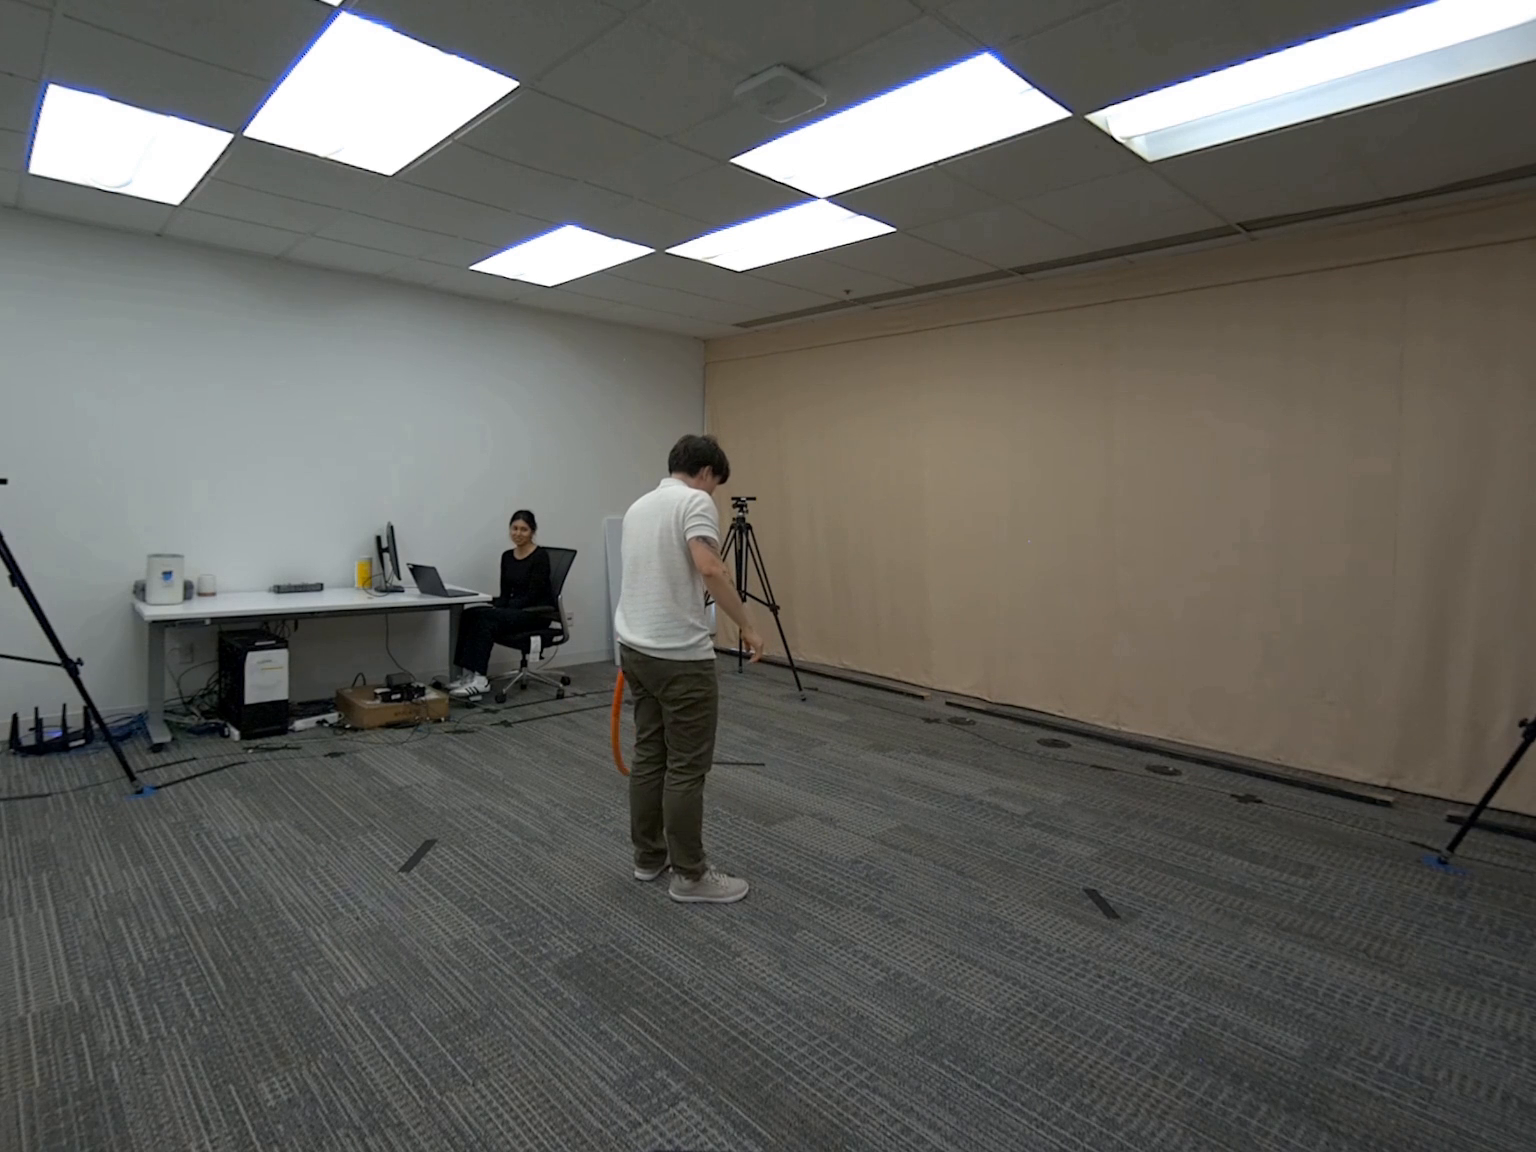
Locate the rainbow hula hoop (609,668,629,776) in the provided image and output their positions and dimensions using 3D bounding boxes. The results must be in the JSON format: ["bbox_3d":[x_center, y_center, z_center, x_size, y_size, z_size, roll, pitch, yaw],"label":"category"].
[{"bbox_3d":[-0.480,0.432,3.832,0.036,0.975,0.969,13,7,13],"label":"rainbow hula hoop"}]
